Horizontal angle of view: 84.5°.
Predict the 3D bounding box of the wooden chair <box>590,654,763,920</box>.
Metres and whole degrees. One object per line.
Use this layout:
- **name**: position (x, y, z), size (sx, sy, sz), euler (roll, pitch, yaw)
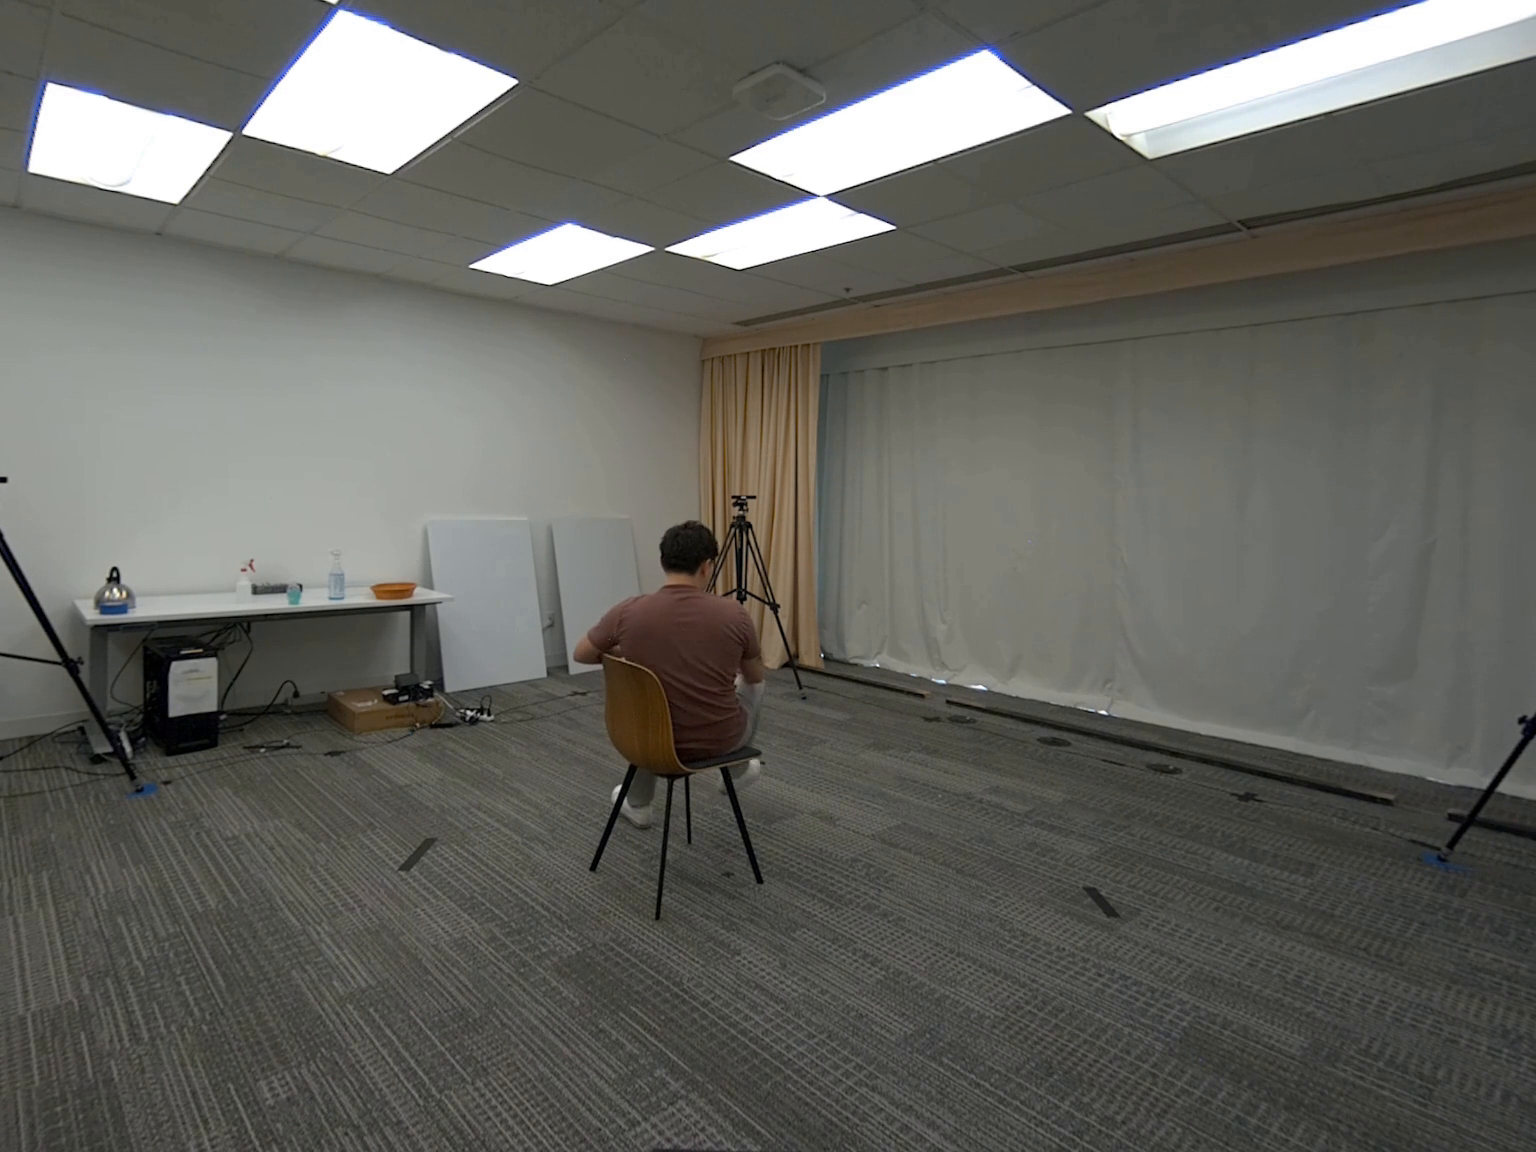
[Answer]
- **wooden chair**: position (-0.327, 0.678, 3.042), size (0.512, 0.873, 0.490), euler (-7, 9, -39)
